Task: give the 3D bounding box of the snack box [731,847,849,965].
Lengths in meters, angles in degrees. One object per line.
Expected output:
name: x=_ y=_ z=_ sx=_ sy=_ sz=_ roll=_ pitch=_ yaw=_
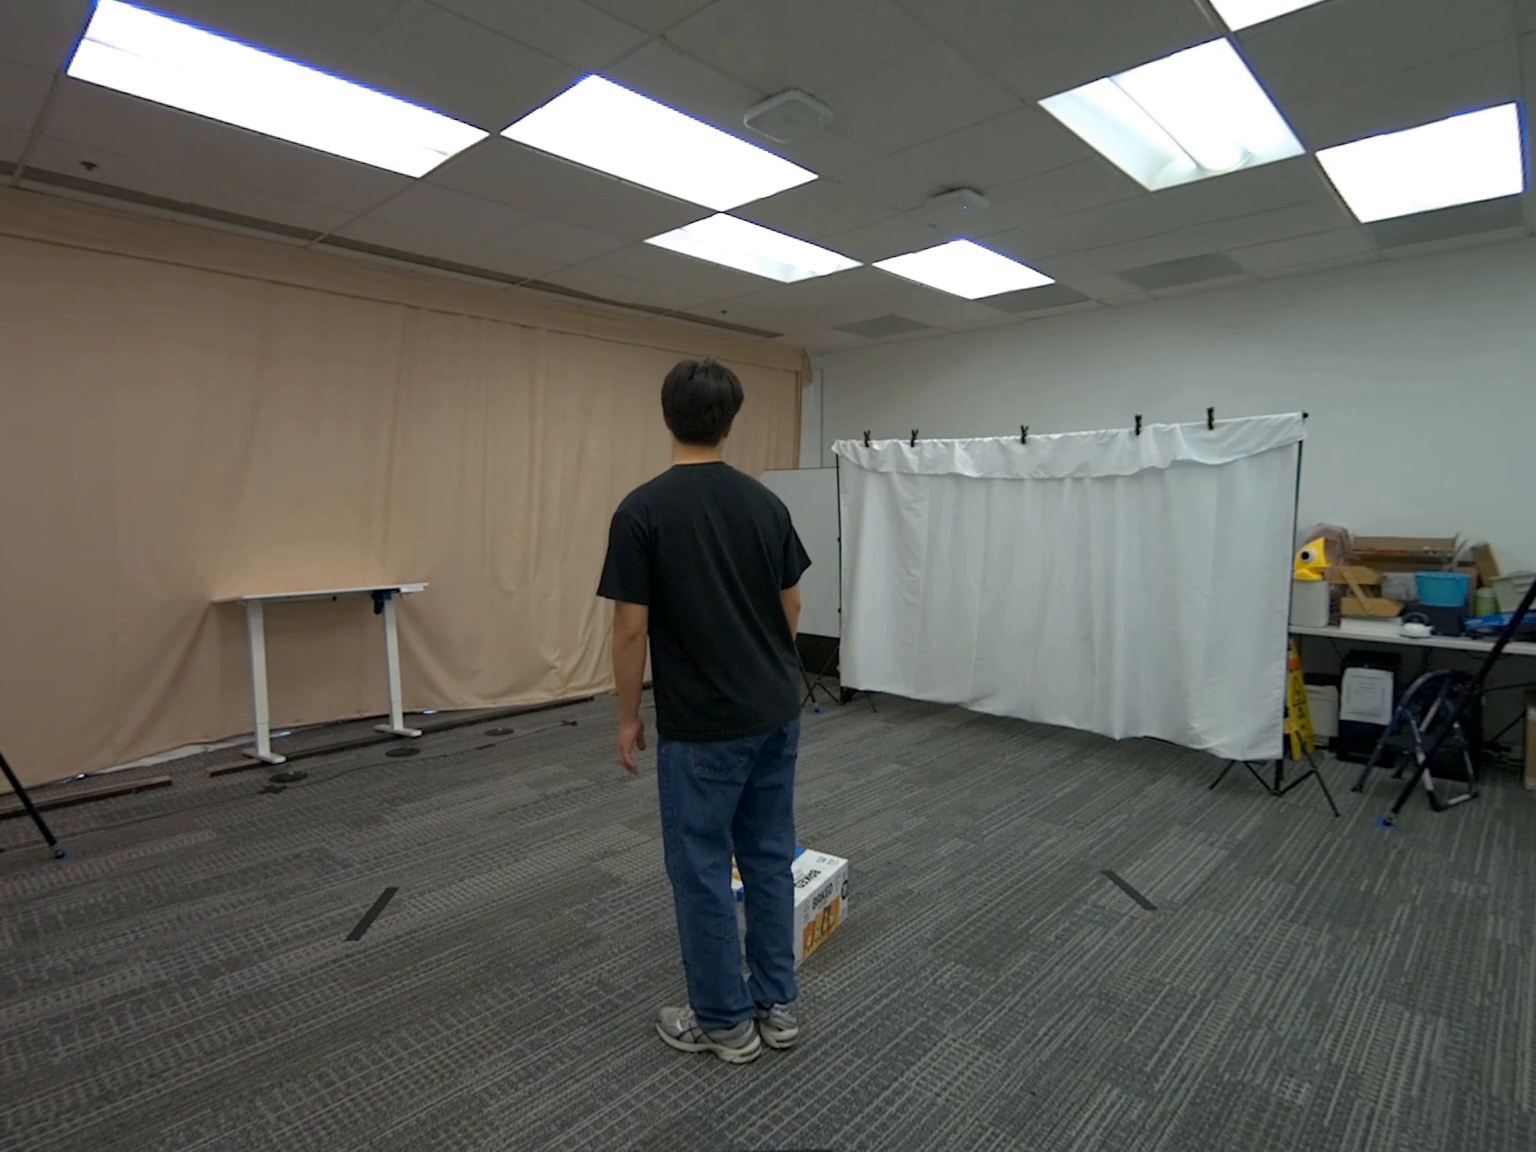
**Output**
snack box: x=0.029 y=1.061 z=2.753 sx=0.350 sy=0.205 sz=0.394 roll=3 pitch=5 yaw=30
